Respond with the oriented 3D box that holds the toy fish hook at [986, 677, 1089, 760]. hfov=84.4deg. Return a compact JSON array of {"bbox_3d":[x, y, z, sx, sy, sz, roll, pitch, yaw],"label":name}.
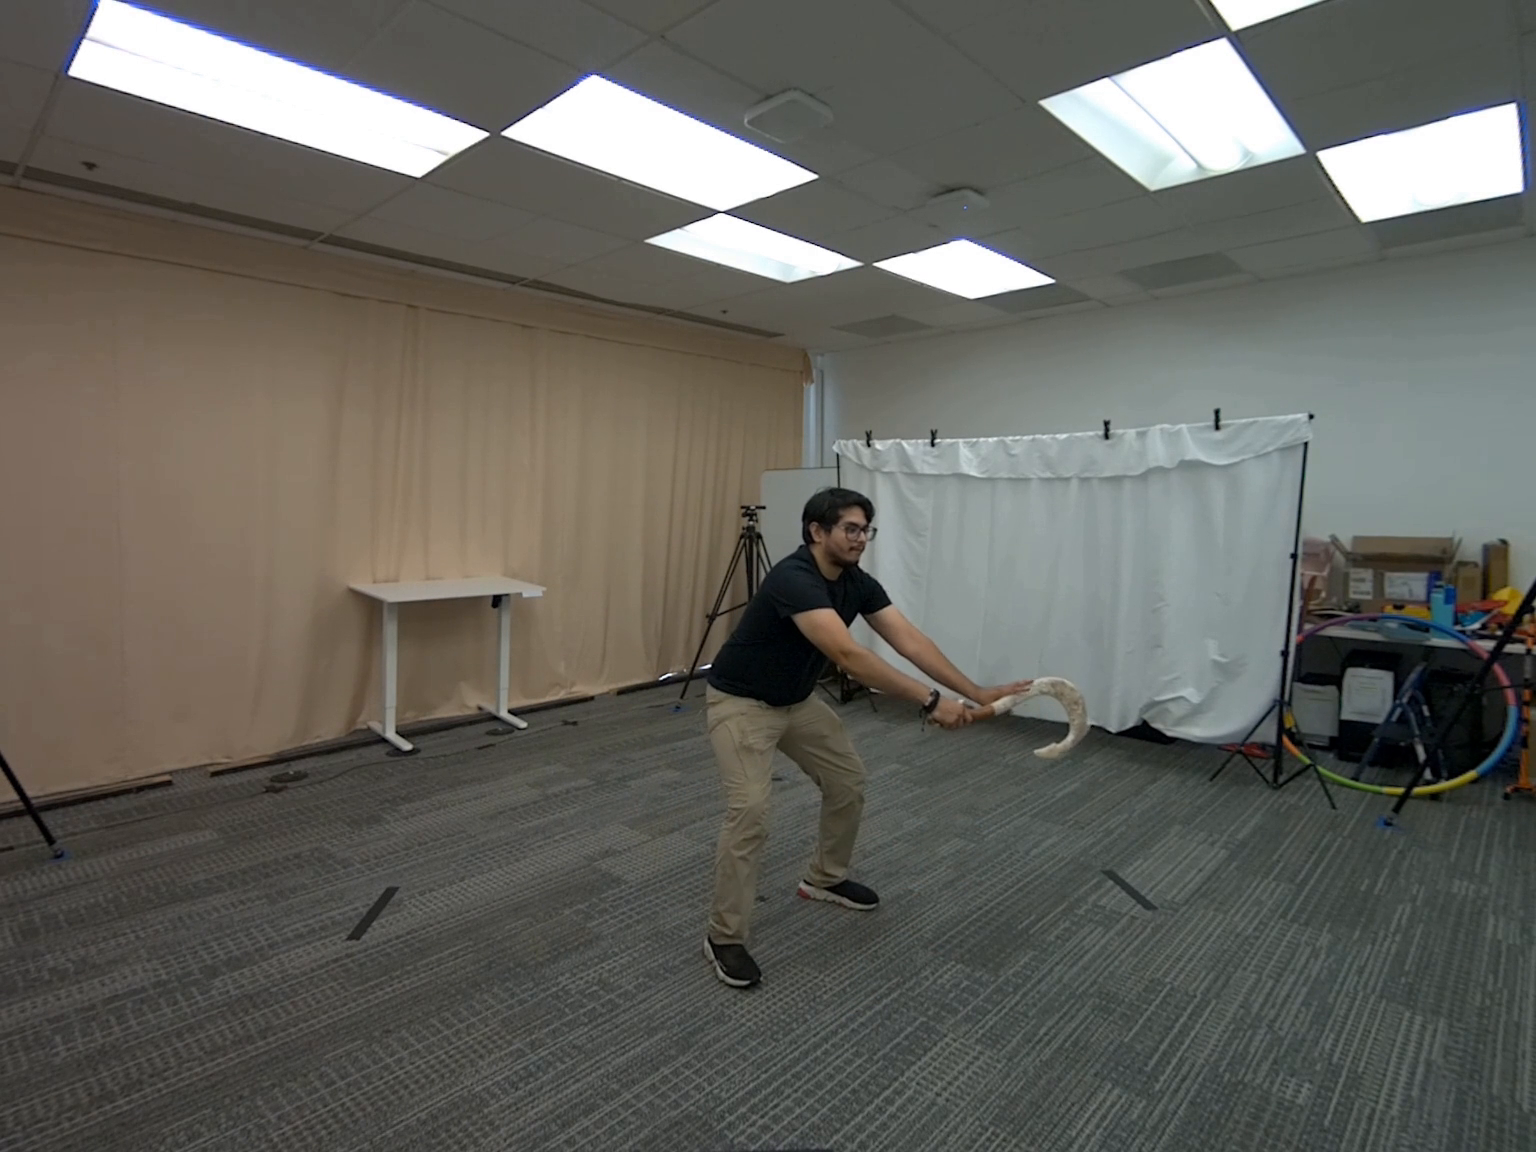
[{"bbox_3d":[0.706,0.434,2.420,0.501,0.227,0.048,-5,-15,-11],"label":"toy fish hook"}]
